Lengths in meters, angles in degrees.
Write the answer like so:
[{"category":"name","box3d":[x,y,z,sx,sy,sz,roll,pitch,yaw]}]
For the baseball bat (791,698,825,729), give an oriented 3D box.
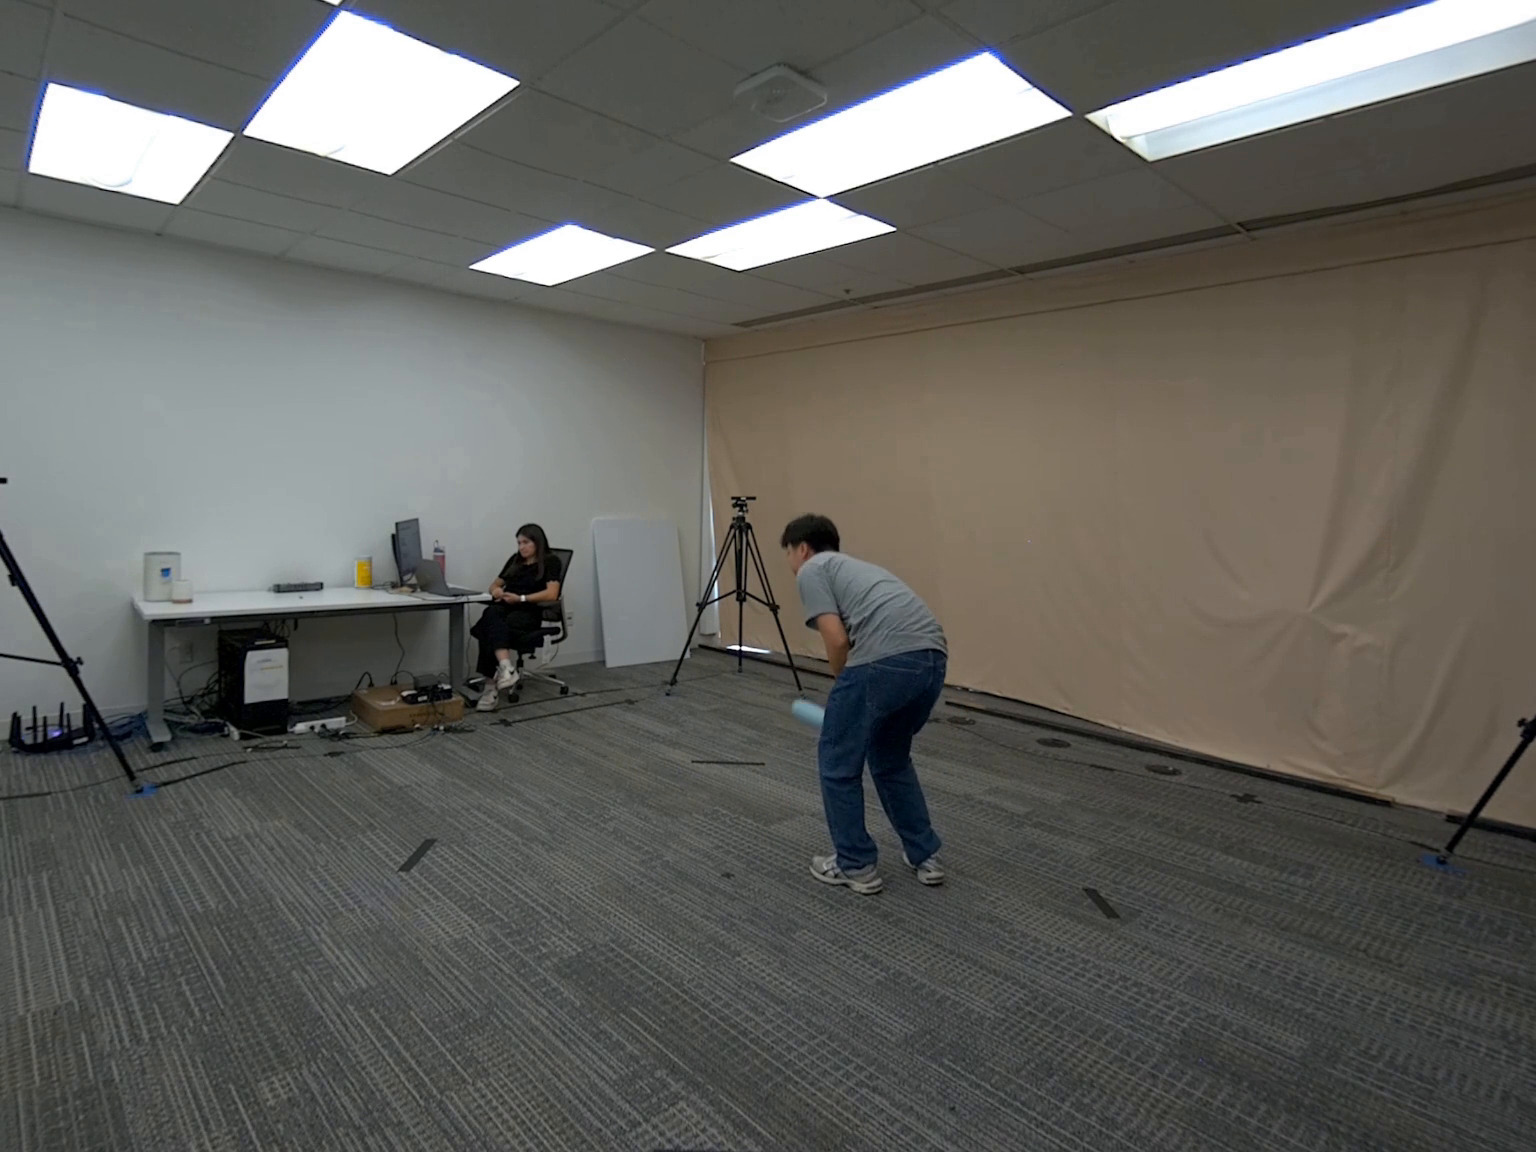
[{"category":"baseball bat","box3d":[0.255,0.627,3.477,0.087,0.088,0.556,-1,8,-28]}]
